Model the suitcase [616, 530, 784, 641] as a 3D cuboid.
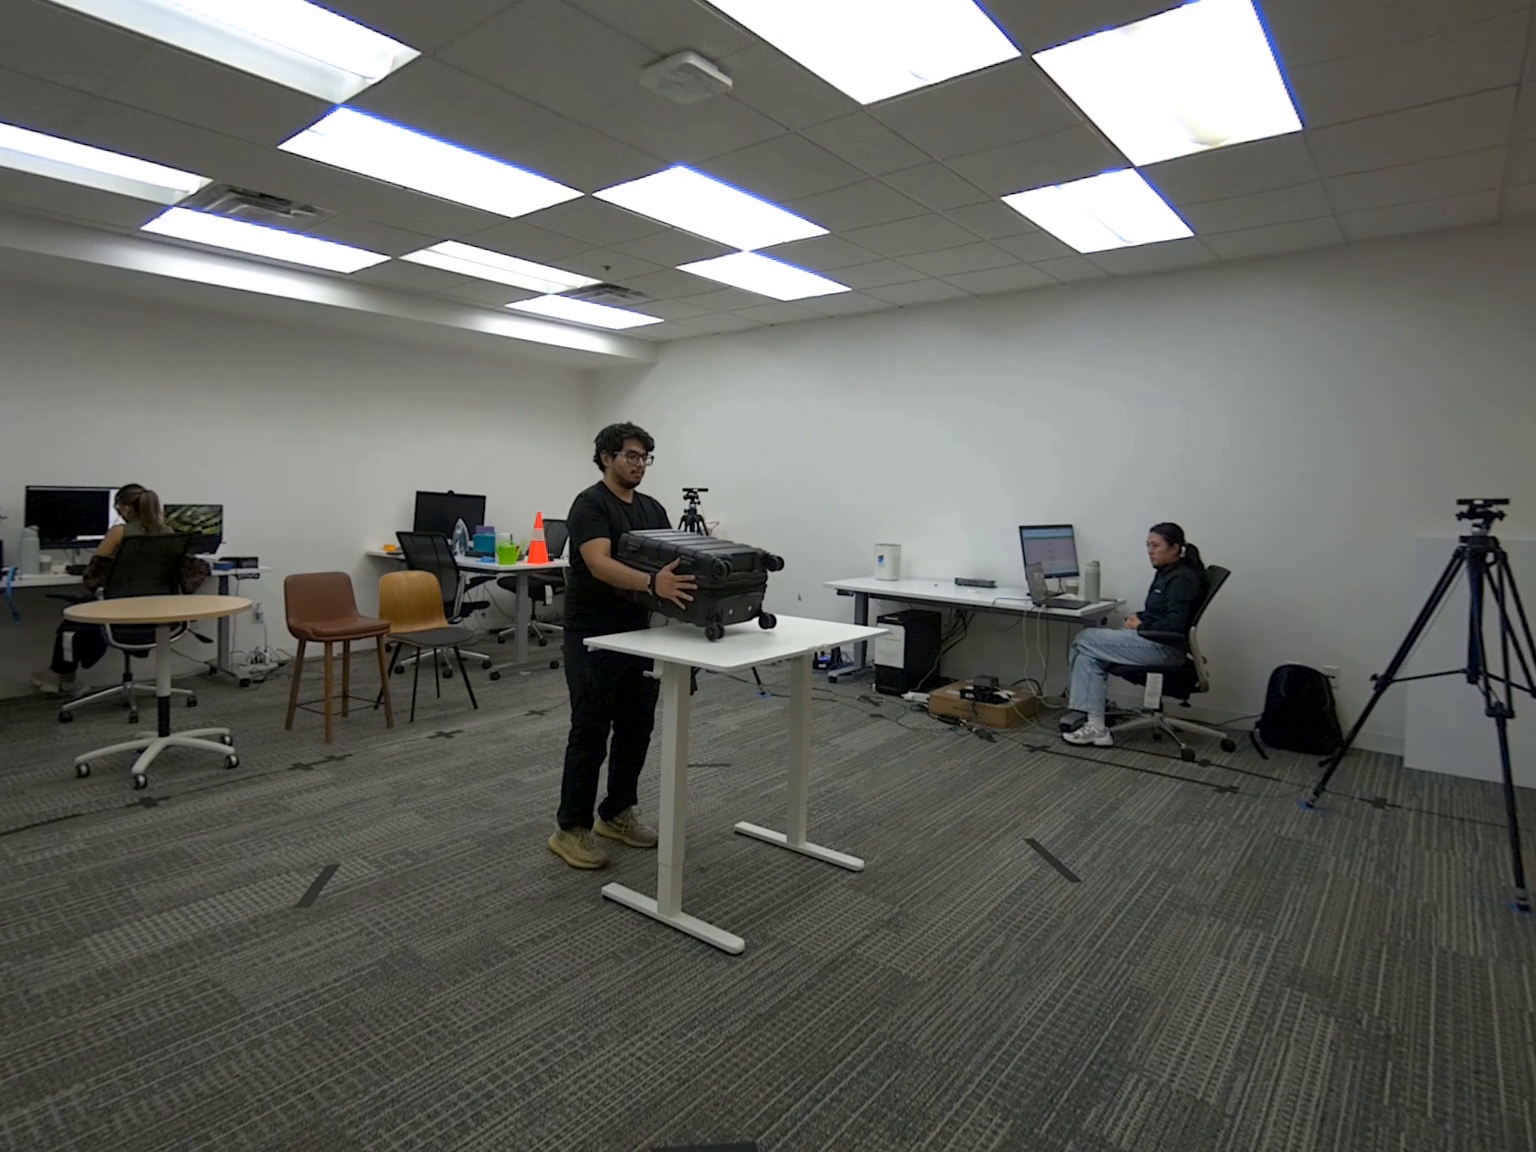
[{"bbox_3d":[-0.278,0.001,3.050,0.570,0.246,0.365,16,14,37],"label":"suitcase"}]
